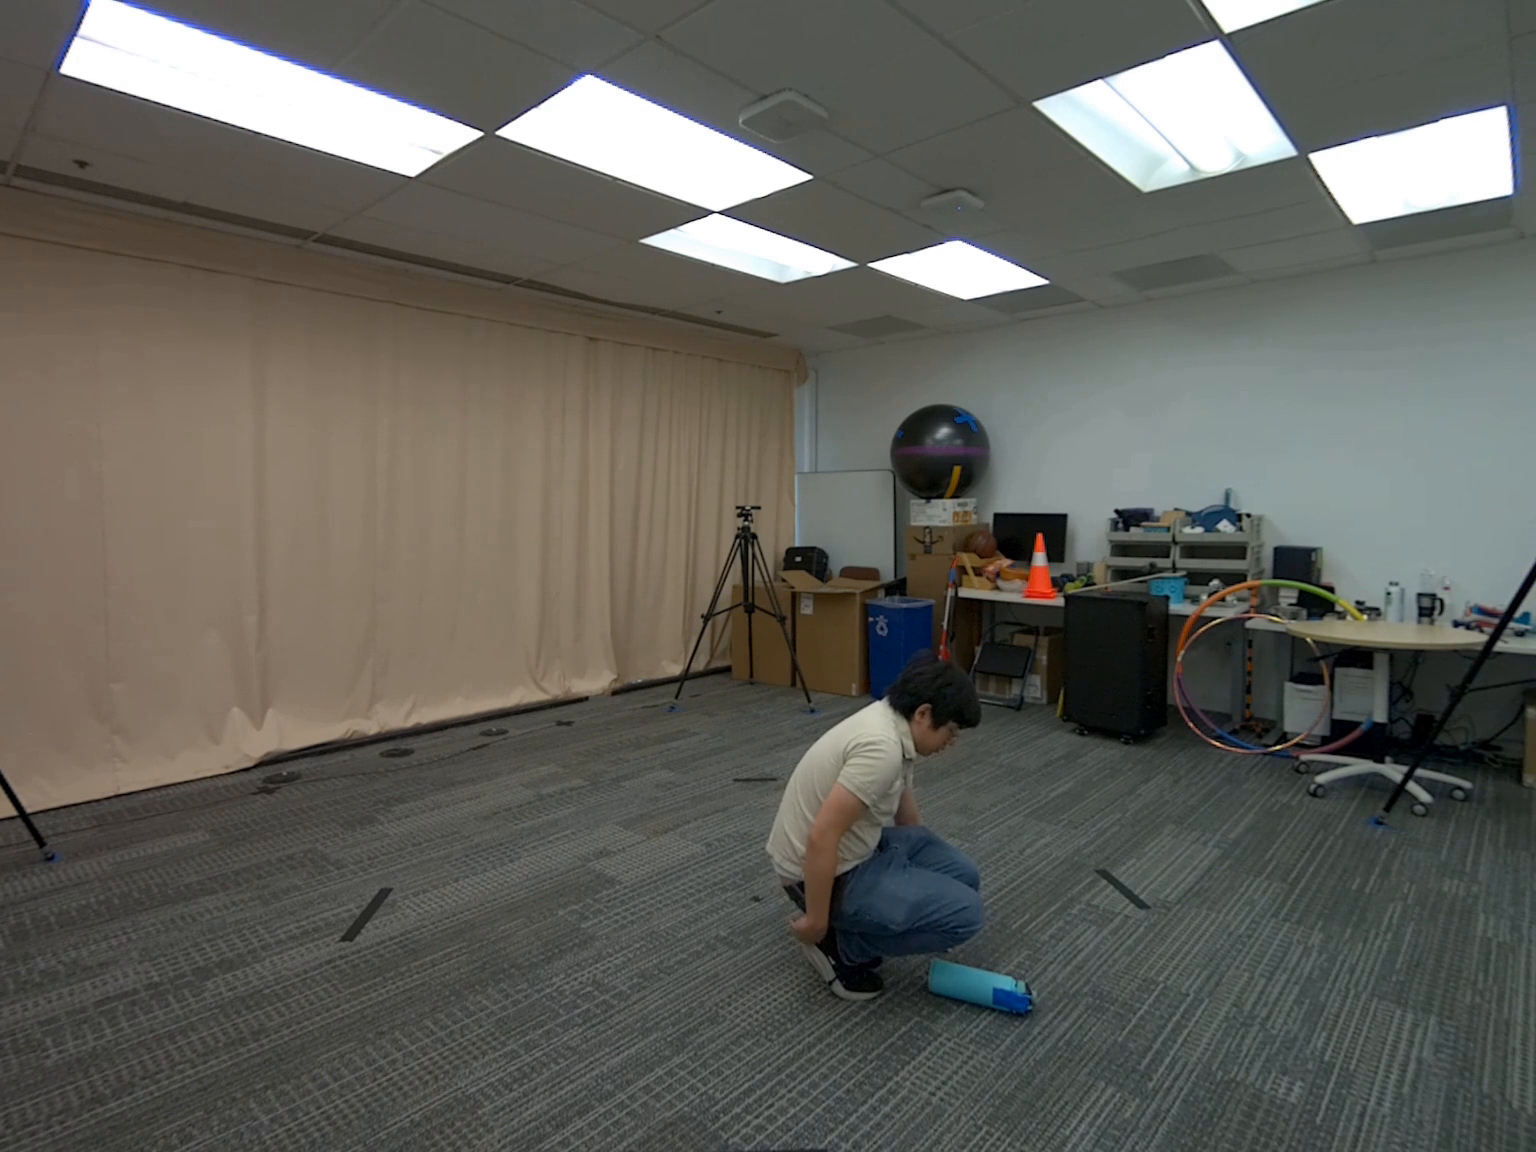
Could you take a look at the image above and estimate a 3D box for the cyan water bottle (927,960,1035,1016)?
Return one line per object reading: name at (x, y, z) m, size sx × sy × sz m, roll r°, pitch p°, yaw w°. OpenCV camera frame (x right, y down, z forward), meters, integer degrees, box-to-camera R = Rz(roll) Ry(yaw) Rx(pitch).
cyan water bottle at (0.609, 1.154, 2.346) m, size 0.291 × 0.092 × 0.090 m, roll 3°, pitch 5°, yaw 26°
